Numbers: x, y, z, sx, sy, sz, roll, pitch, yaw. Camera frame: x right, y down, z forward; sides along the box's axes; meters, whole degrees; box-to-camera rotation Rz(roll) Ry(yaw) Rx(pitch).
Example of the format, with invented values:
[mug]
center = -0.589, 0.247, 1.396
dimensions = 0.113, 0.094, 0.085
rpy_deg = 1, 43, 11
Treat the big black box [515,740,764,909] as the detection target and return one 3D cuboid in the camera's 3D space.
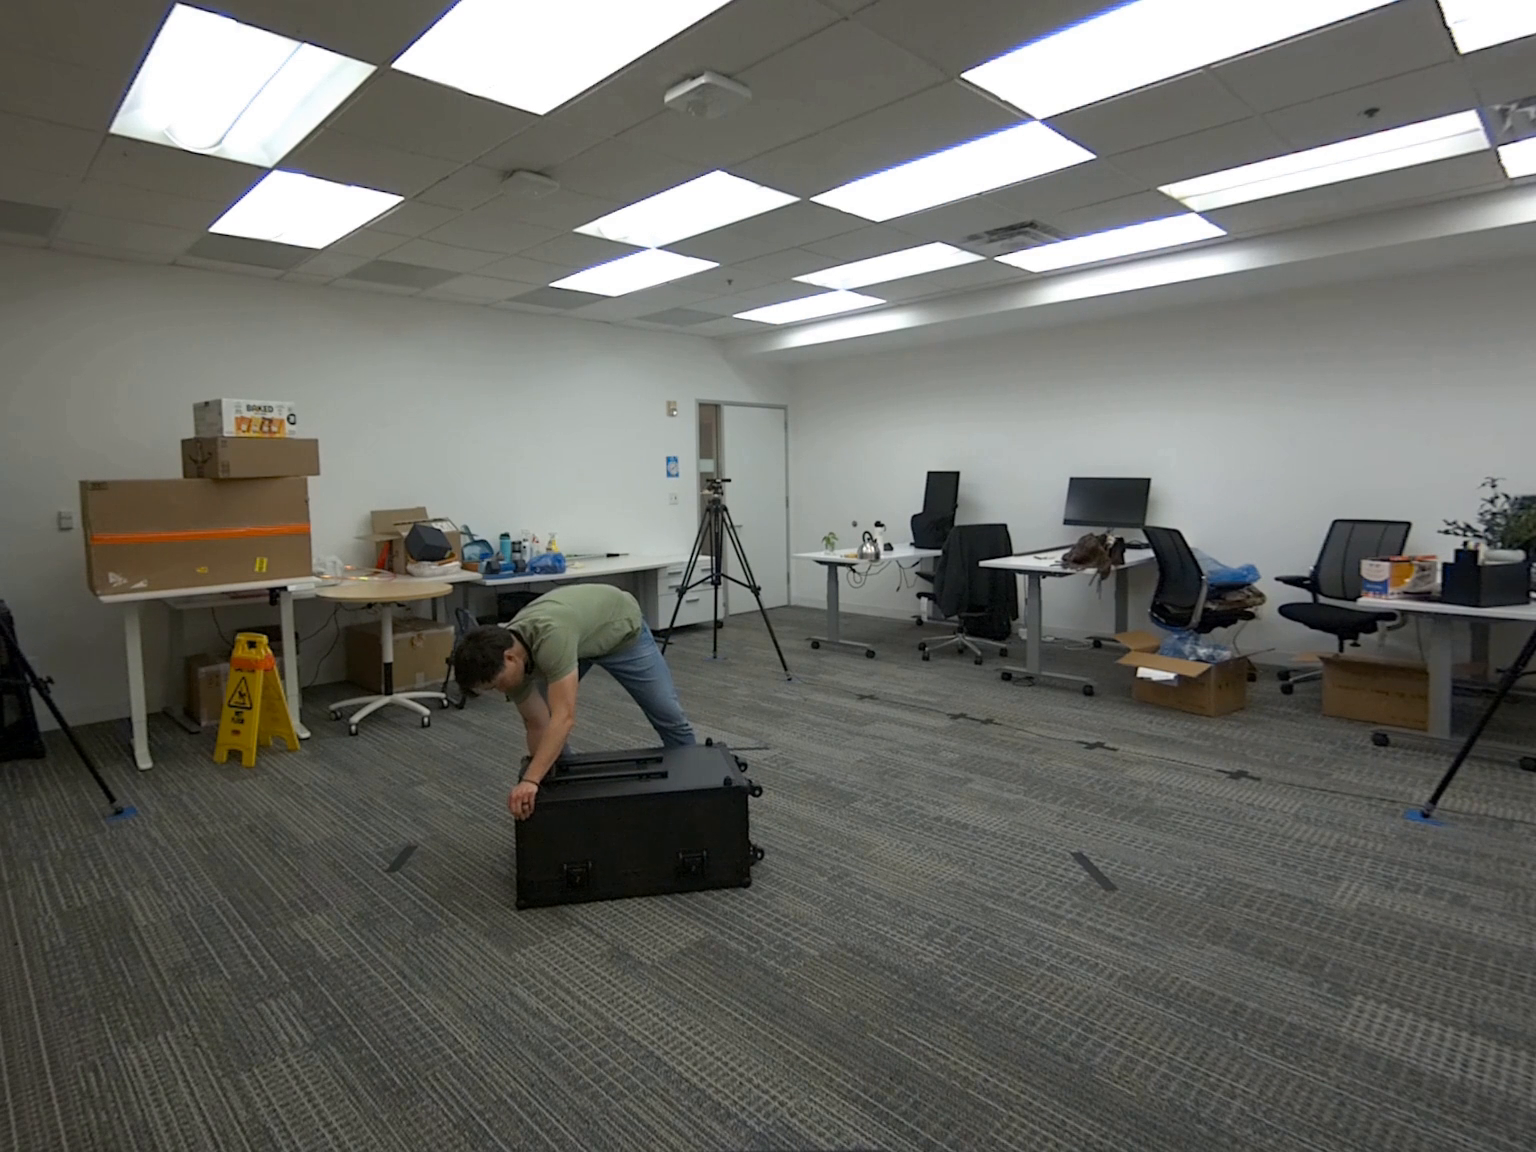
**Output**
[big black box]
center = -0.460, 0.860, 3.085
dimensions = 0.853, 0.395, 0.529
rpy_deg = -1, 5, -10
